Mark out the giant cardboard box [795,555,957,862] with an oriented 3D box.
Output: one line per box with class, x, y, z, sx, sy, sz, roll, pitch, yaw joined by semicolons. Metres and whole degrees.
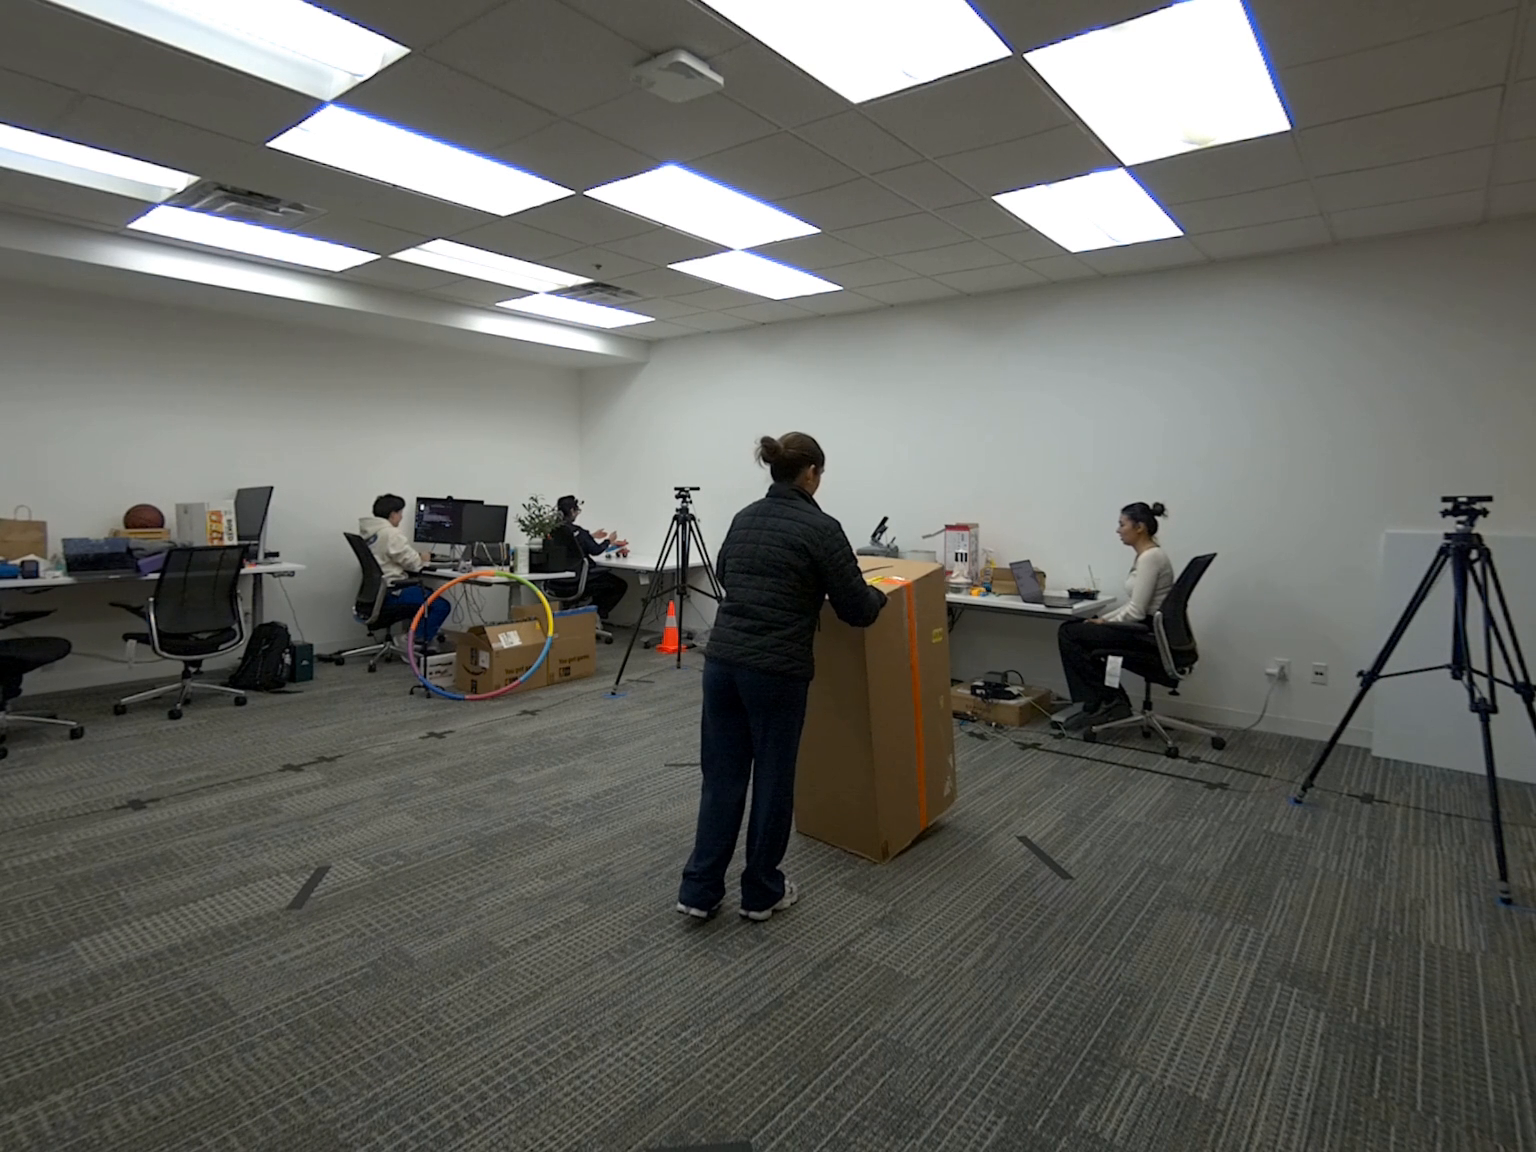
giant cardboard box;0.424;0.493;3.420;0.462;1.013;0.571;7;18;44
